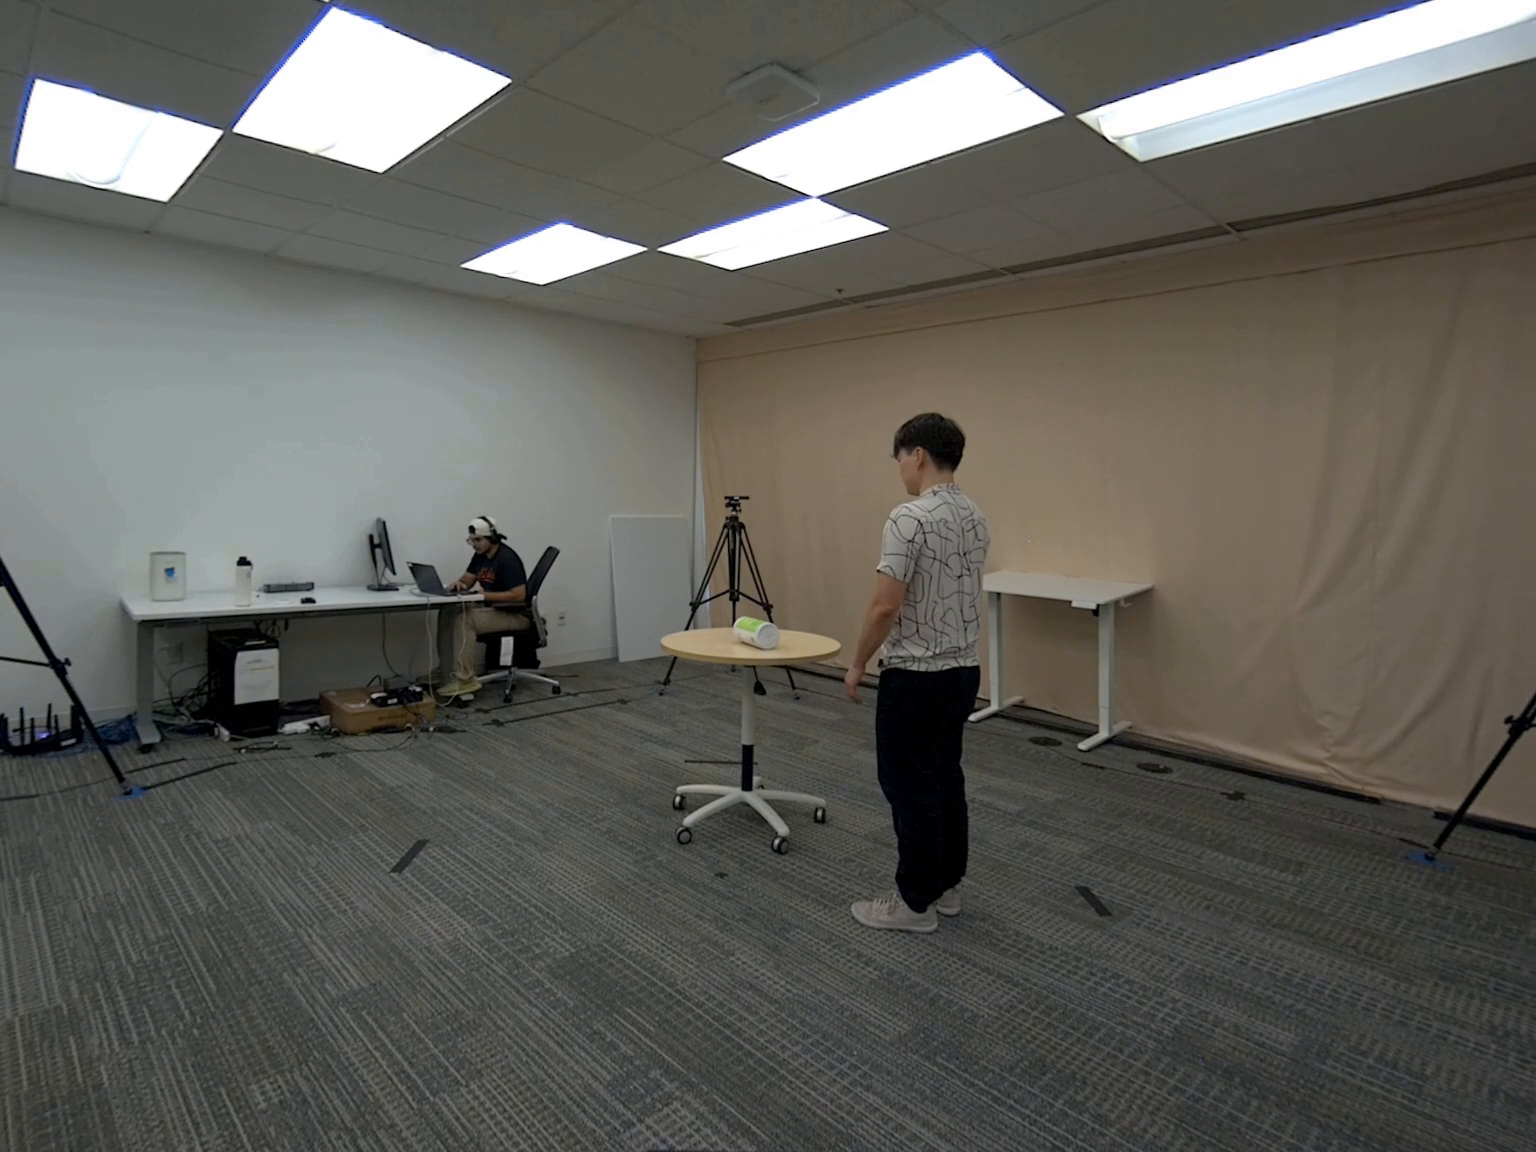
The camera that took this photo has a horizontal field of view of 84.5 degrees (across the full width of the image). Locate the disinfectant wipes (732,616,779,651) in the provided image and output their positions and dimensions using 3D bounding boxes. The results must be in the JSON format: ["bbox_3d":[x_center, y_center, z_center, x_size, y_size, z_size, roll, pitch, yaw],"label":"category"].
[{"bbox_3d":[-0.055,0.233,3.484,0.115,0.117,0.222,-1,5,-28],"label":"disinfectant wipes"}]
